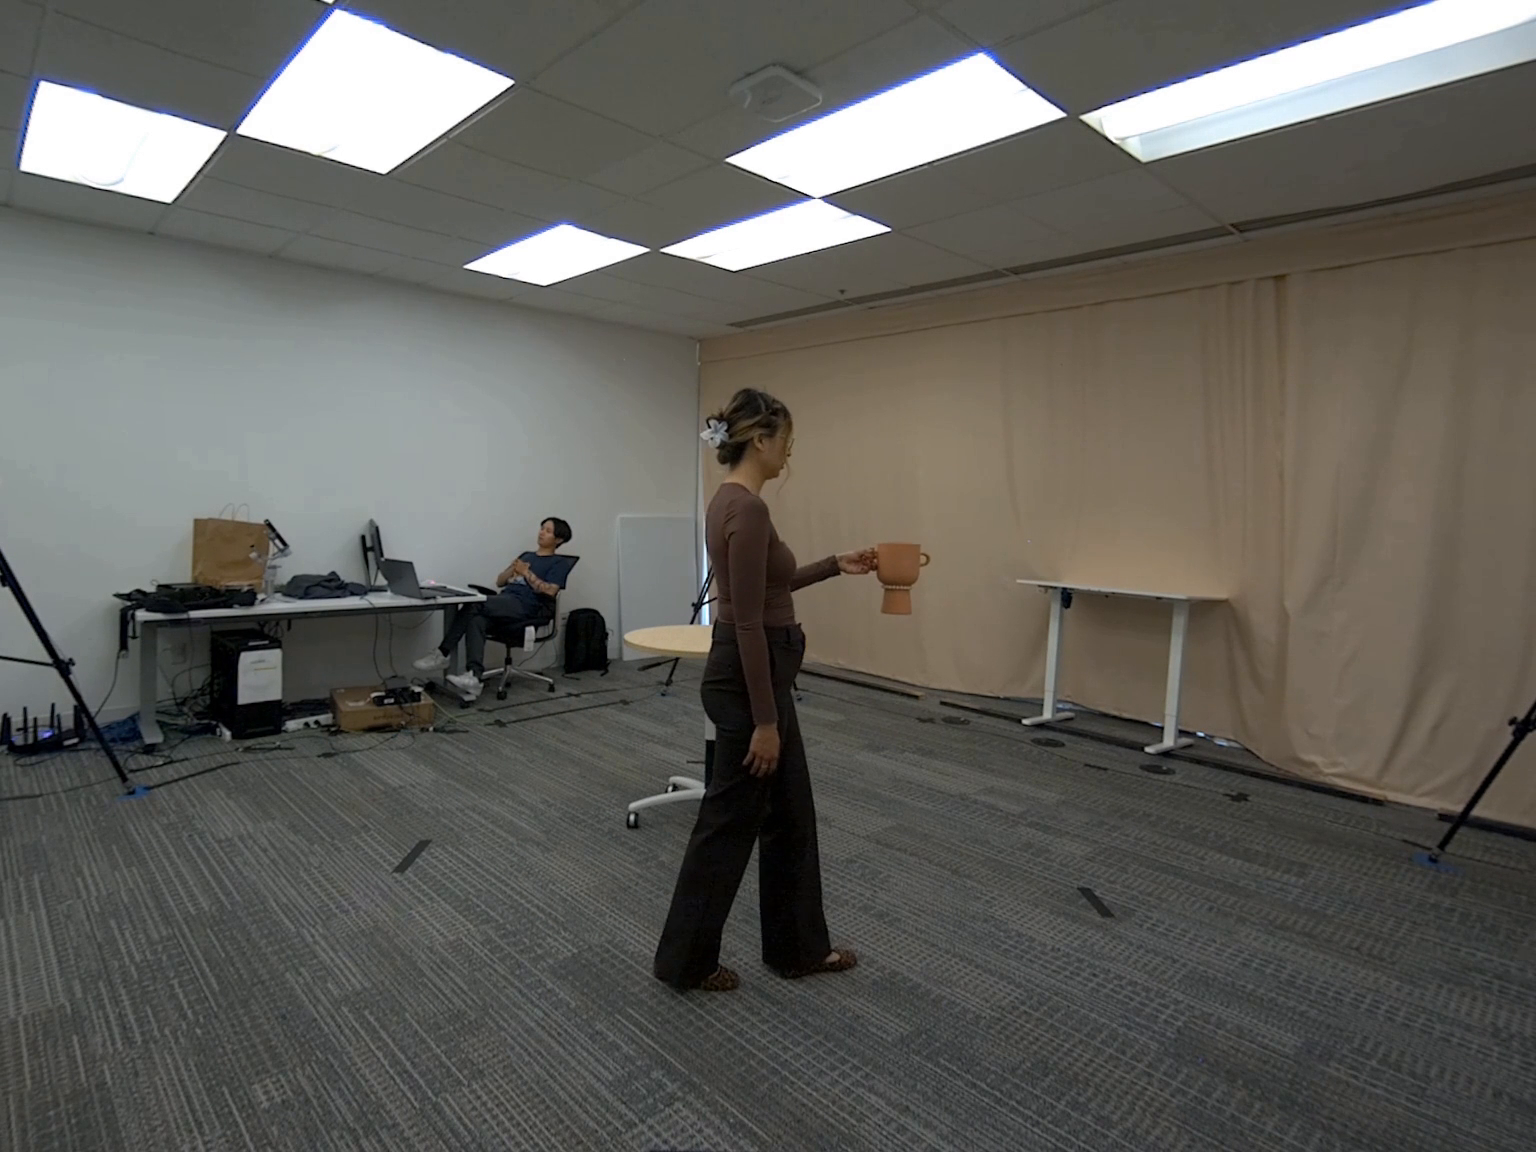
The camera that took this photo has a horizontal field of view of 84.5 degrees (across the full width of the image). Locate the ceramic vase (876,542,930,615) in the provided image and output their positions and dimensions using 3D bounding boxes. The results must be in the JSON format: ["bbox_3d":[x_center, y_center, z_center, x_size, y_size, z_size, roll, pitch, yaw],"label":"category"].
[{"bbox_3d":[0.397,0.005,2.630,0.163,0.219,0.131,4,3,39],"label":"ceramic vase"}]
